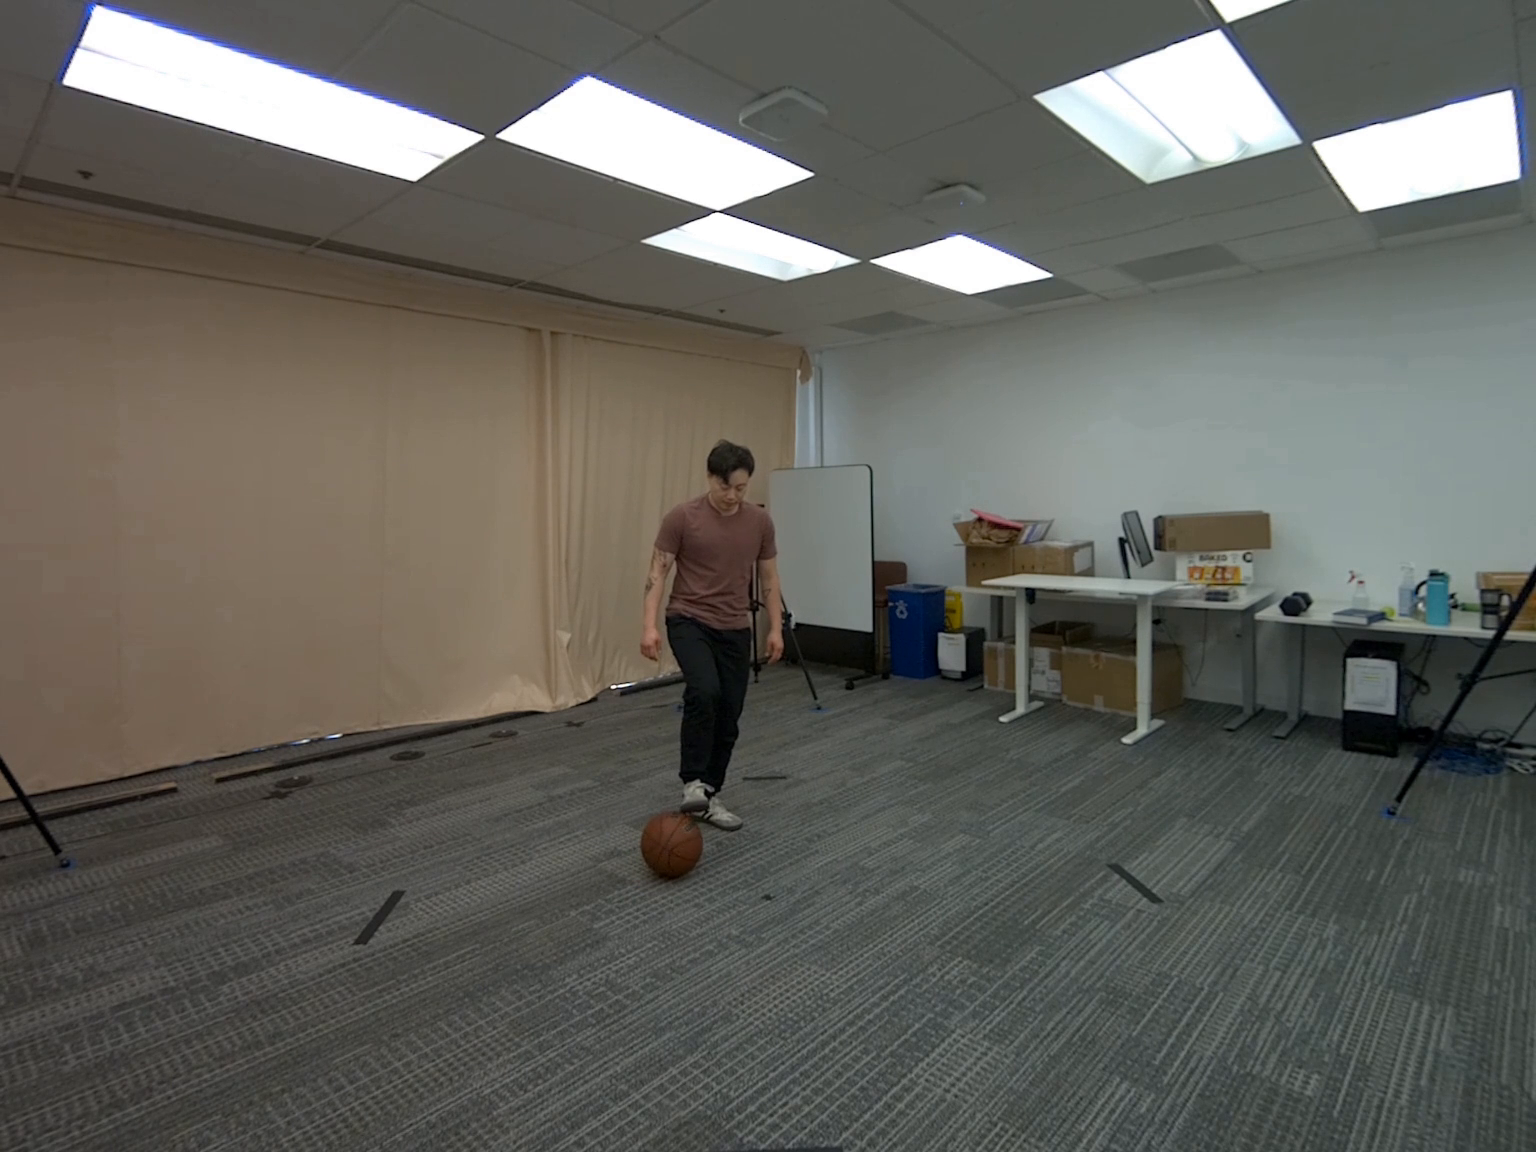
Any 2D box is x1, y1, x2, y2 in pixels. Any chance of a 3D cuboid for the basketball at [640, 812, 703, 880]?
[{"bbox_3d":[-0.368,1.012,3.186,0.236,0.235,0.237,-1,4,-2],"label":"basketball"}]
